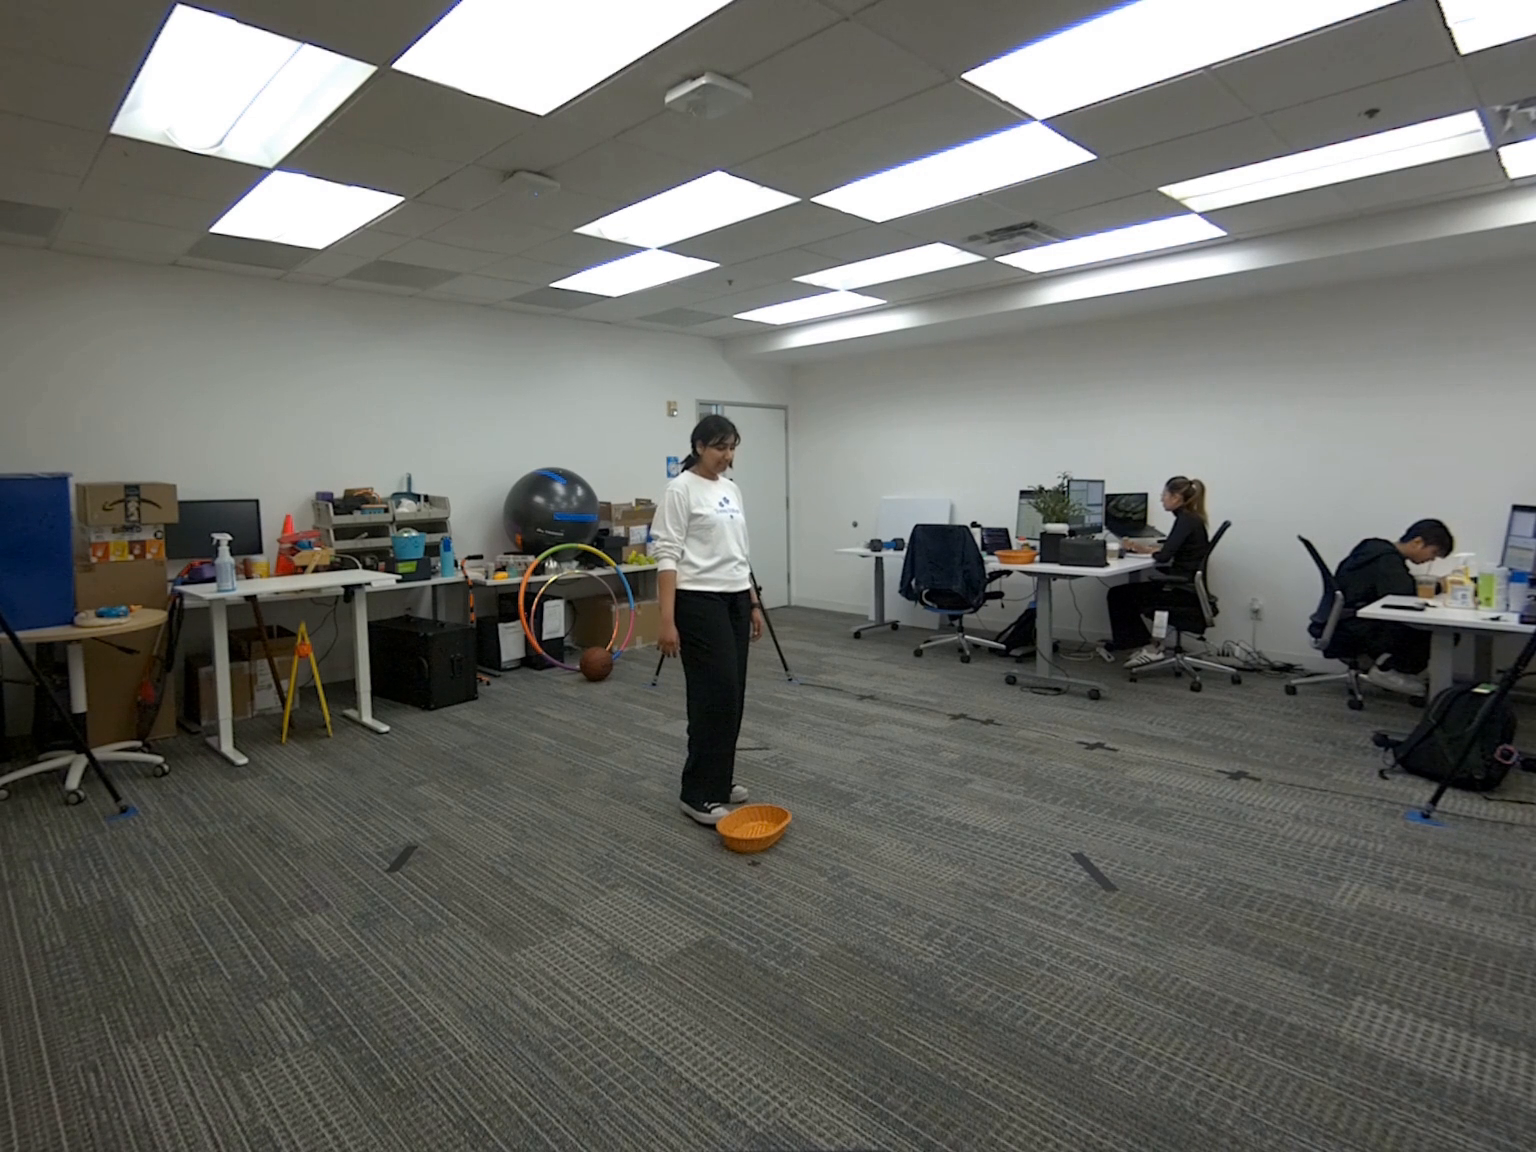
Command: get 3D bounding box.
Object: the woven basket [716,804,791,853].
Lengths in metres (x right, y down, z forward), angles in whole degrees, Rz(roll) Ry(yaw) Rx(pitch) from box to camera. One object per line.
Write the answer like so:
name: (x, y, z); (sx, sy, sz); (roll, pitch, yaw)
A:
woven basket: (-0.053, 0.975, 3.324); (0.259, 0.073, 0.342); (2, 7, 32)
